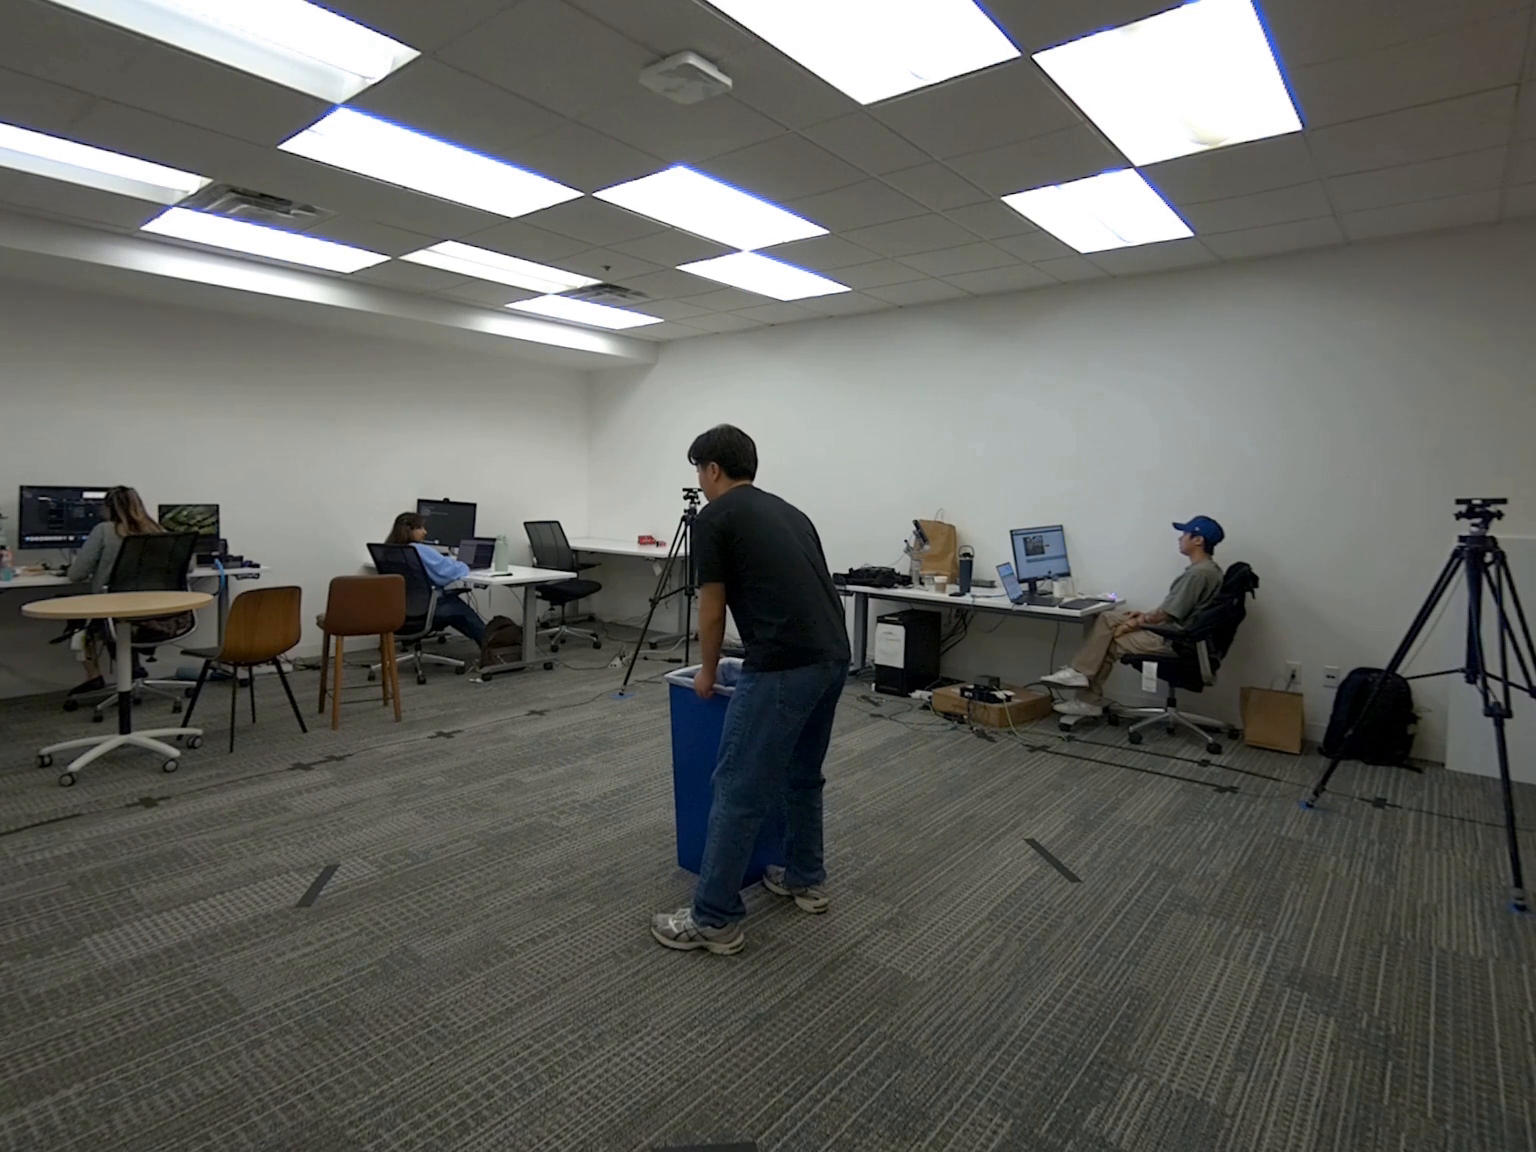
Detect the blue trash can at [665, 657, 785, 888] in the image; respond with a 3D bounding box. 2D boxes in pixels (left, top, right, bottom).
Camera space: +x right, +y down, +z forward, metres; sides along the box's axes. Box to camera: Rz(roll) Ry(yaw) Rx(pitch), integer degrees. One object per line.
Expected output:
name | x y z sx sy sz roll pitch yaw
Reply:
blue trash can | -0.151 0.706 3.132 0.386 0.711 0.367 3 5 41
